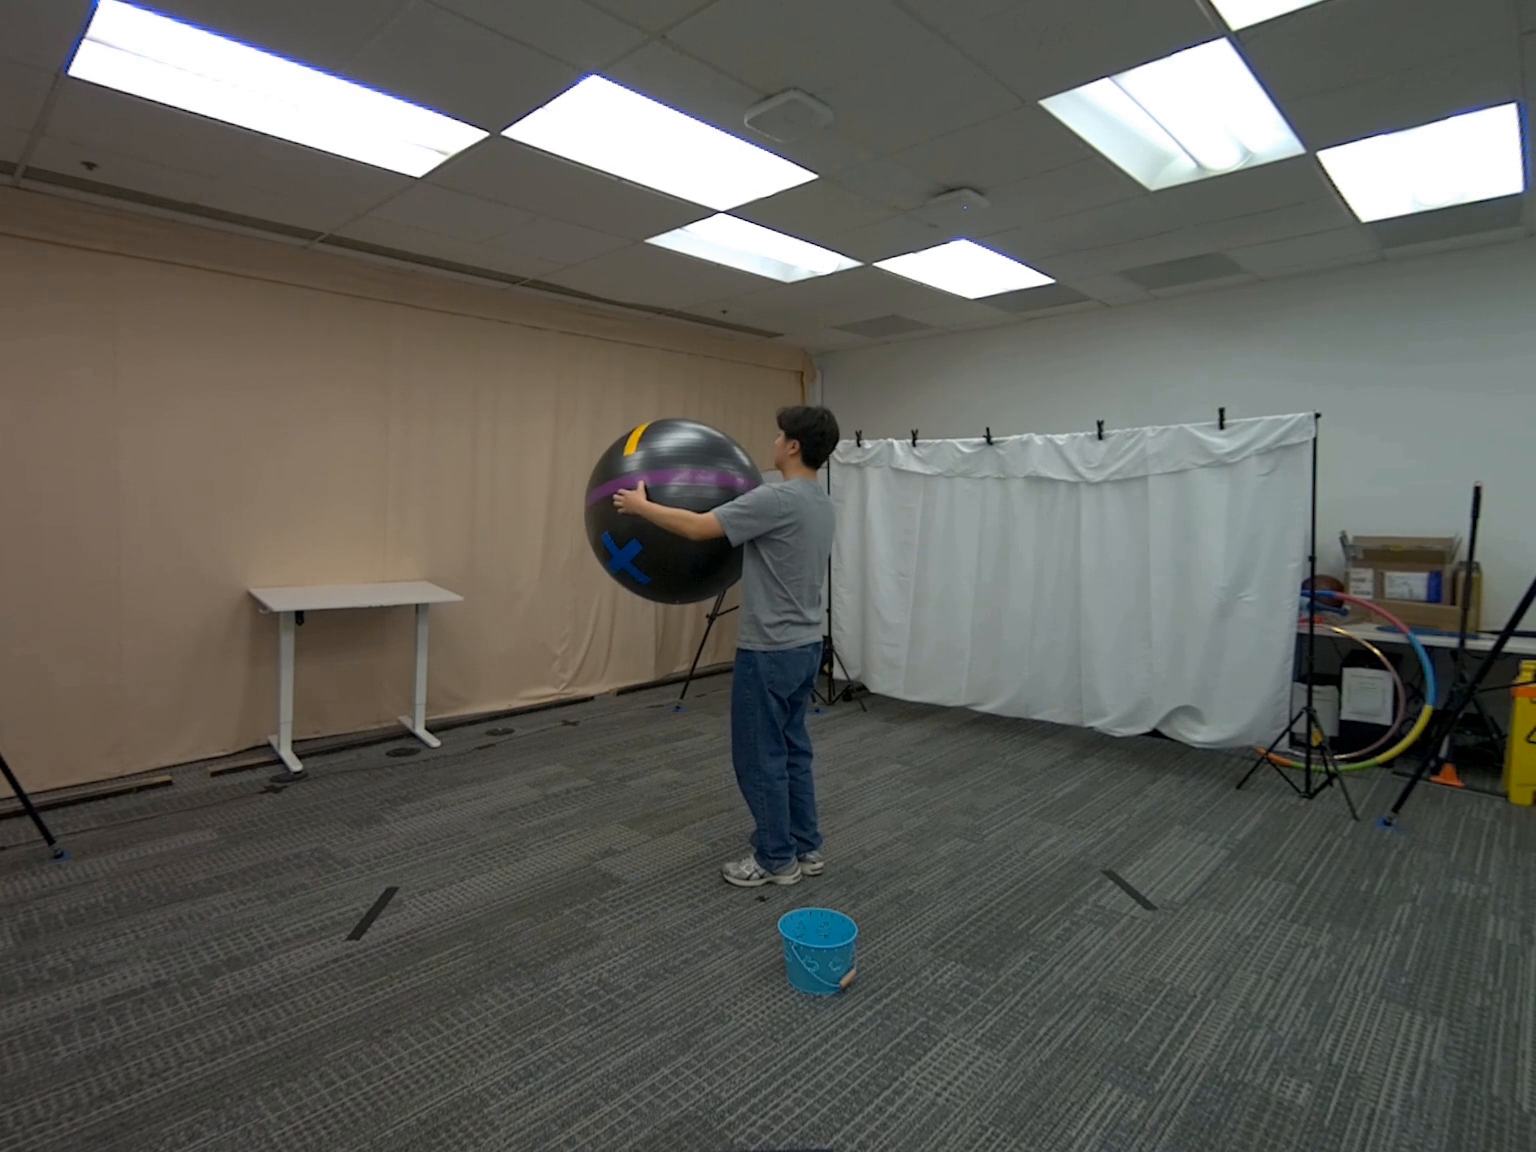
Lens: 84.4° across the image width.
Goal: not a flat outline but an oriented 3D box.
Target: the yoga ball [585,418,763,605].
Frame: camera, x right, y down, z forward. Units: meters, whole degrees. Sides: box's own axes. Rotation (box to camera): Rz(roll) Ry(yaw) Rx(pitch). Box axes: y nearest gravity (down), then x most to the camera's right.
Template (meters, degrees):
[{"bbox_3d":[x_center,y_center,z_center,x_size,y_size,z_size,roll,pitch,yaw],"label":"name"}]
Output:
[{"bbox_3d":[-0.388,-0.258,3.493,0.757,0.756,0.761,0,4,-2],"label":"yoga ball"}]
